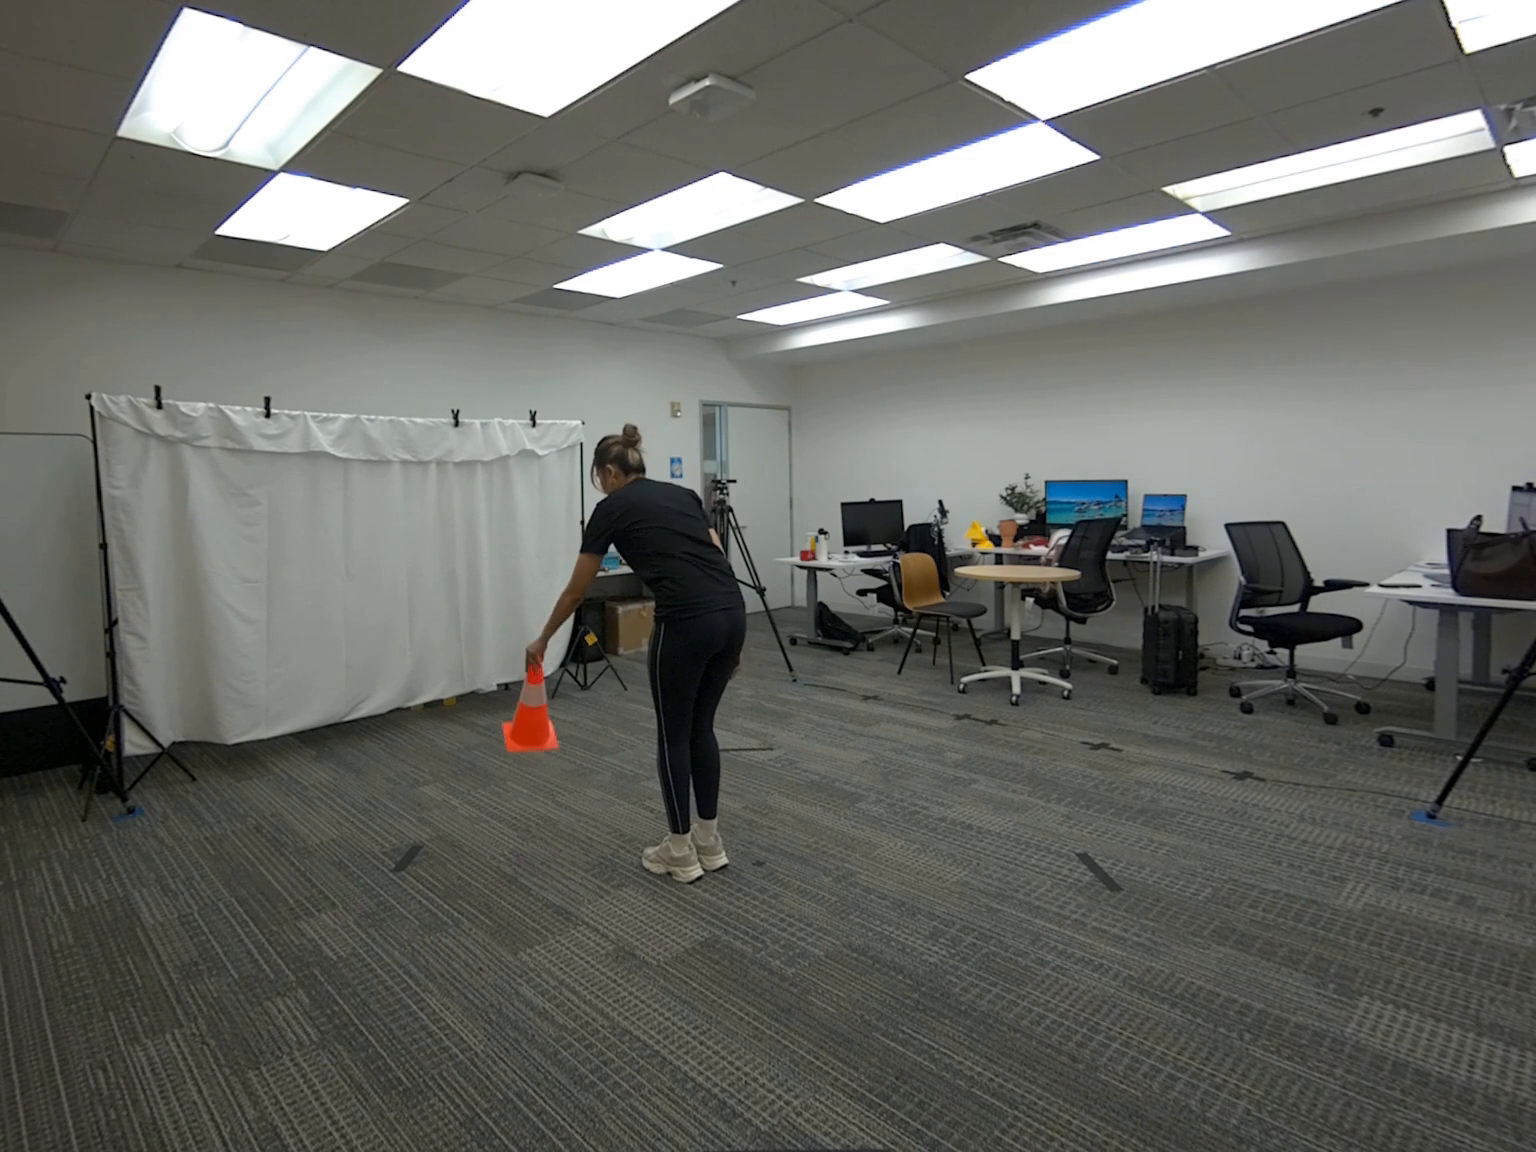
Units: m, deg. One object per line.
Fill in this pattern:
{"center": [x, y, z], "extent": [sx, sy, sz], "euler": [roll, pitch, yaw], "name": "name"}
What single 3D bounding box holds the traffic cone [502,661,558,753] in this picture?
{"center": [-0.924, 0.449, 3.320], "extent": [0.201, 0.378, 0.210], "euler": [-1, 22, -22], "name": "traffic cone"}
